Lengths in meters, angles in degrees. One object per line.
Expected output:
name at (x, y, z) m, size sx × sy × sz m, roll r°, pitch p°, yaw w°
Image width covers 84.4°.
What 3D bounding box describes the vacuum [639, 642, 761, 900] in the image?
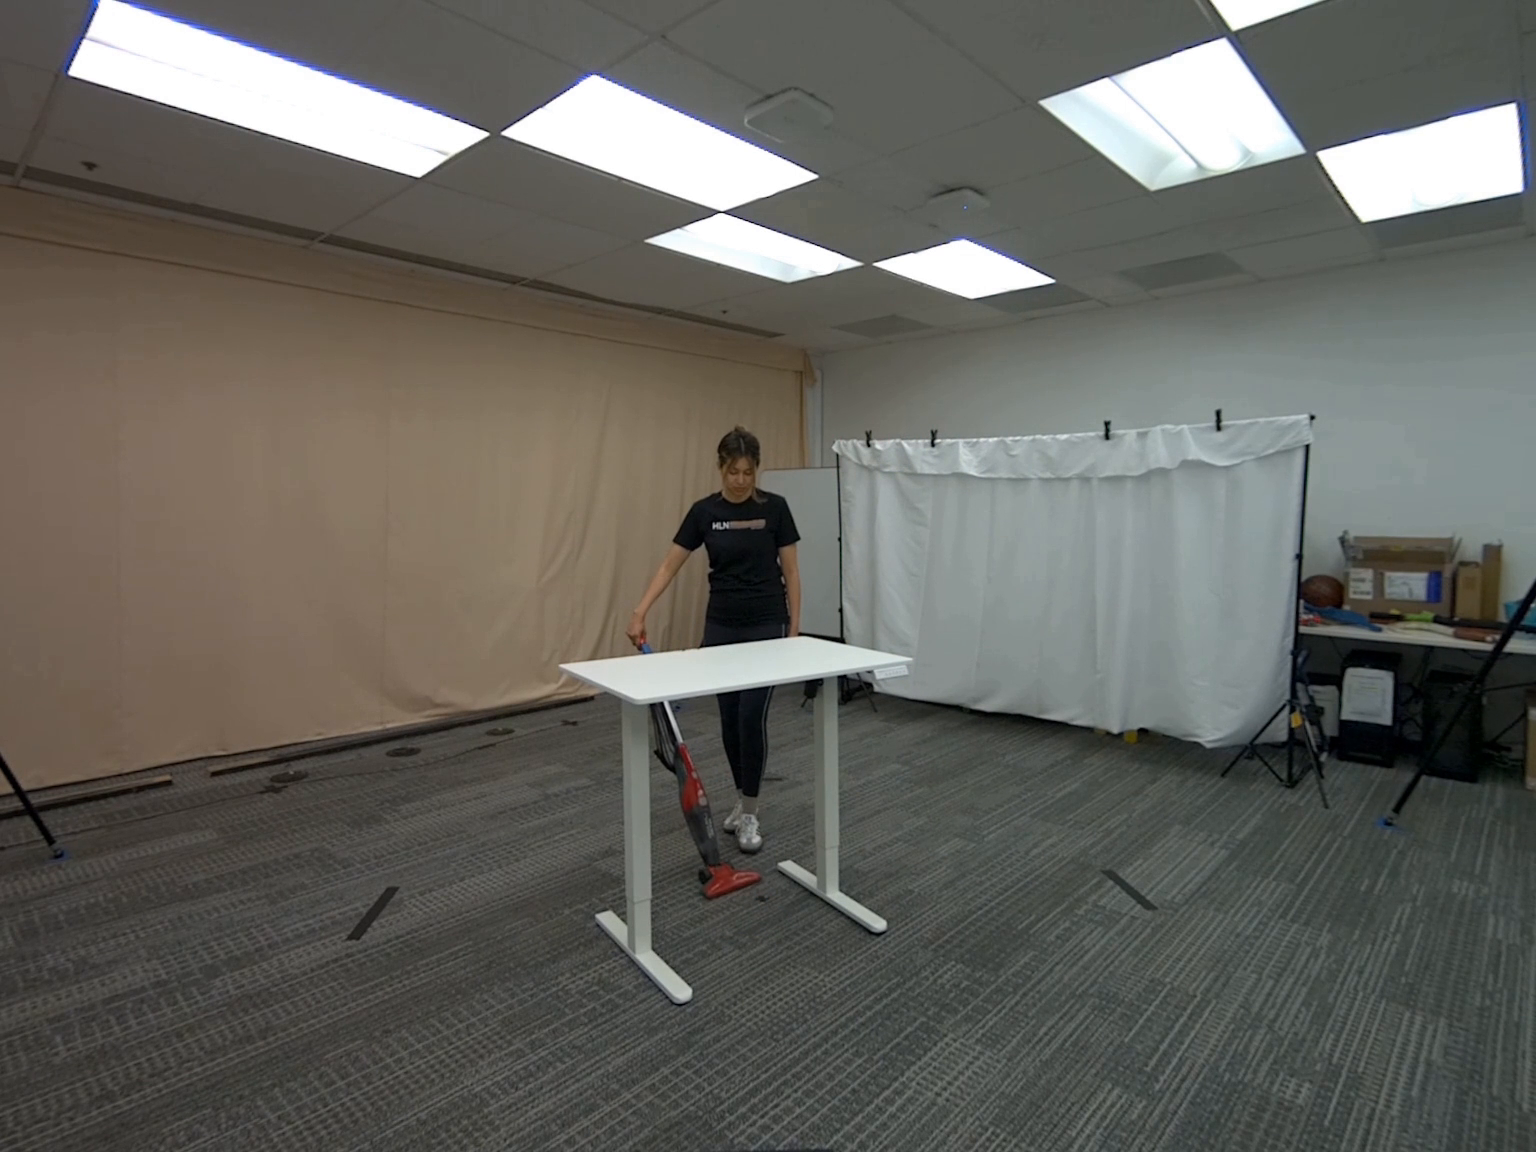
vacuum at (-0.352, 0.680, 3.319) m, size 0.245 × 1.074 × 0.144 m, roll -4°, pitch -32°, yaw -34°
